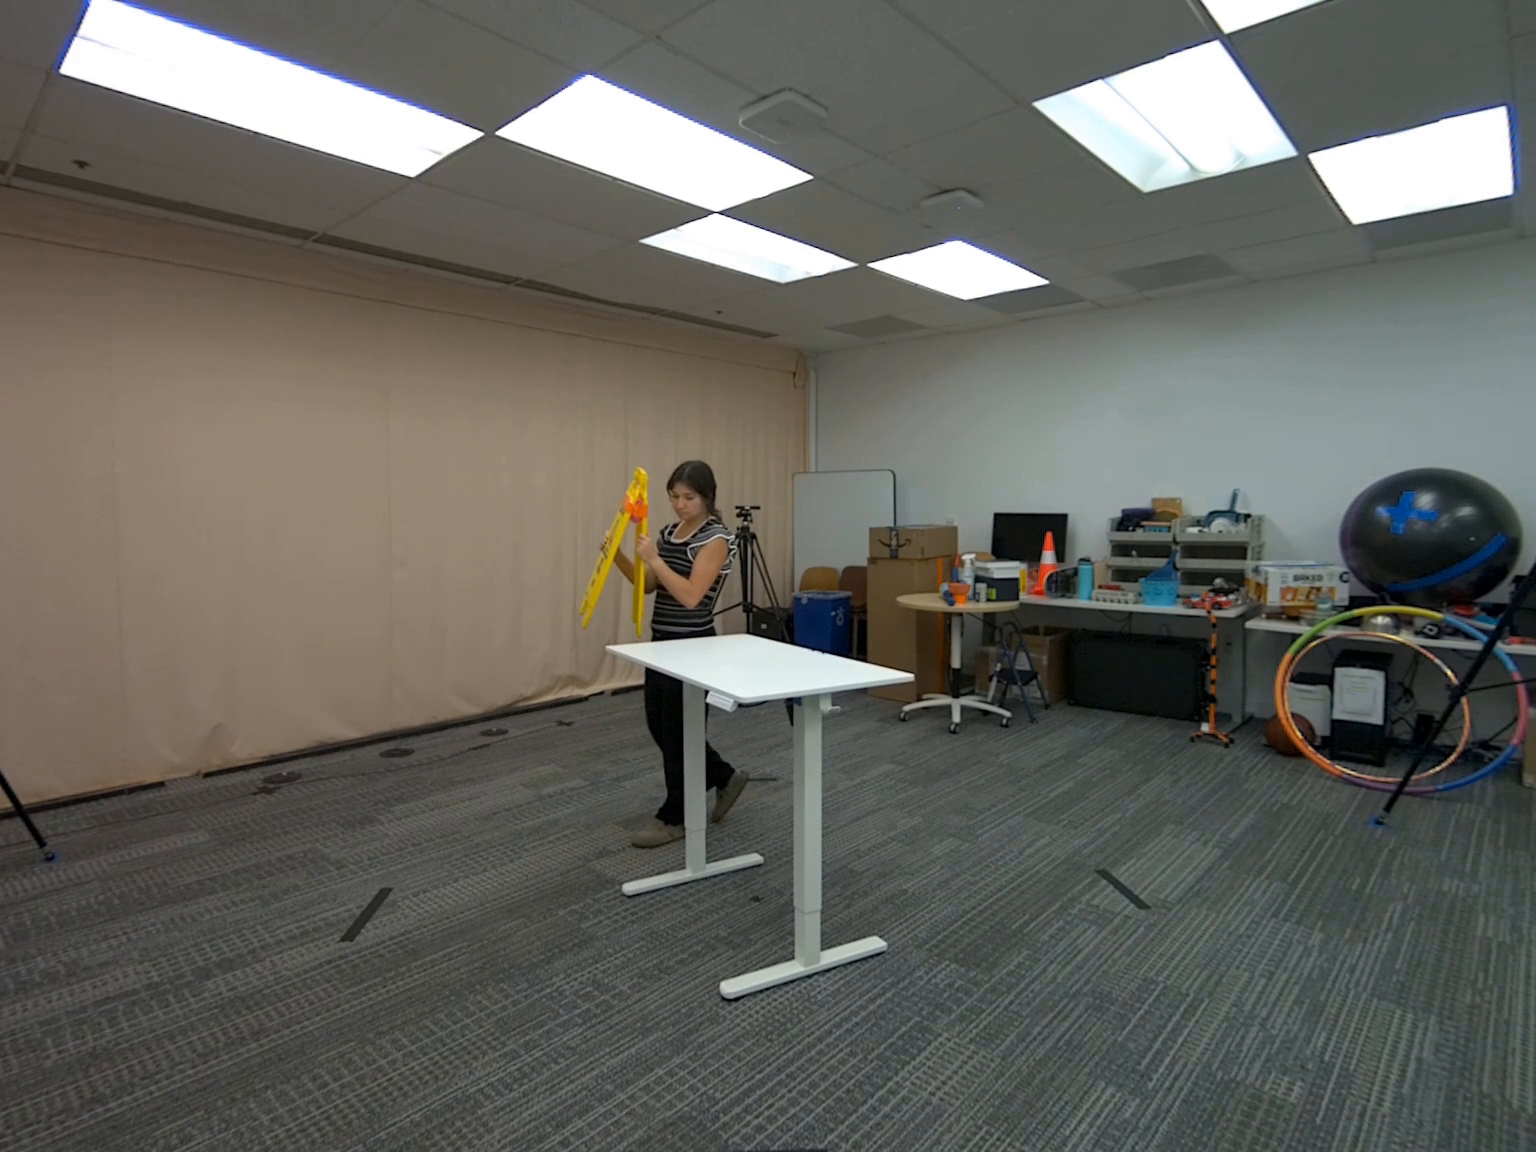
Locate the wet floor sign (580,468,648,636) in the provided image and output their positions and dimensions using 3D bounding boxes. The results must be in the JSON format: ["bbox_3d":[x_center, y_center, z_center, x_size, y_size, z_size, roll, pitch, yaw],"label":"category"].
[{"bbox_3d":[-0.565,-0.112,3.431,0.285,0.643,0.288,10,12,-15],"label":"wet floor sign"}]
